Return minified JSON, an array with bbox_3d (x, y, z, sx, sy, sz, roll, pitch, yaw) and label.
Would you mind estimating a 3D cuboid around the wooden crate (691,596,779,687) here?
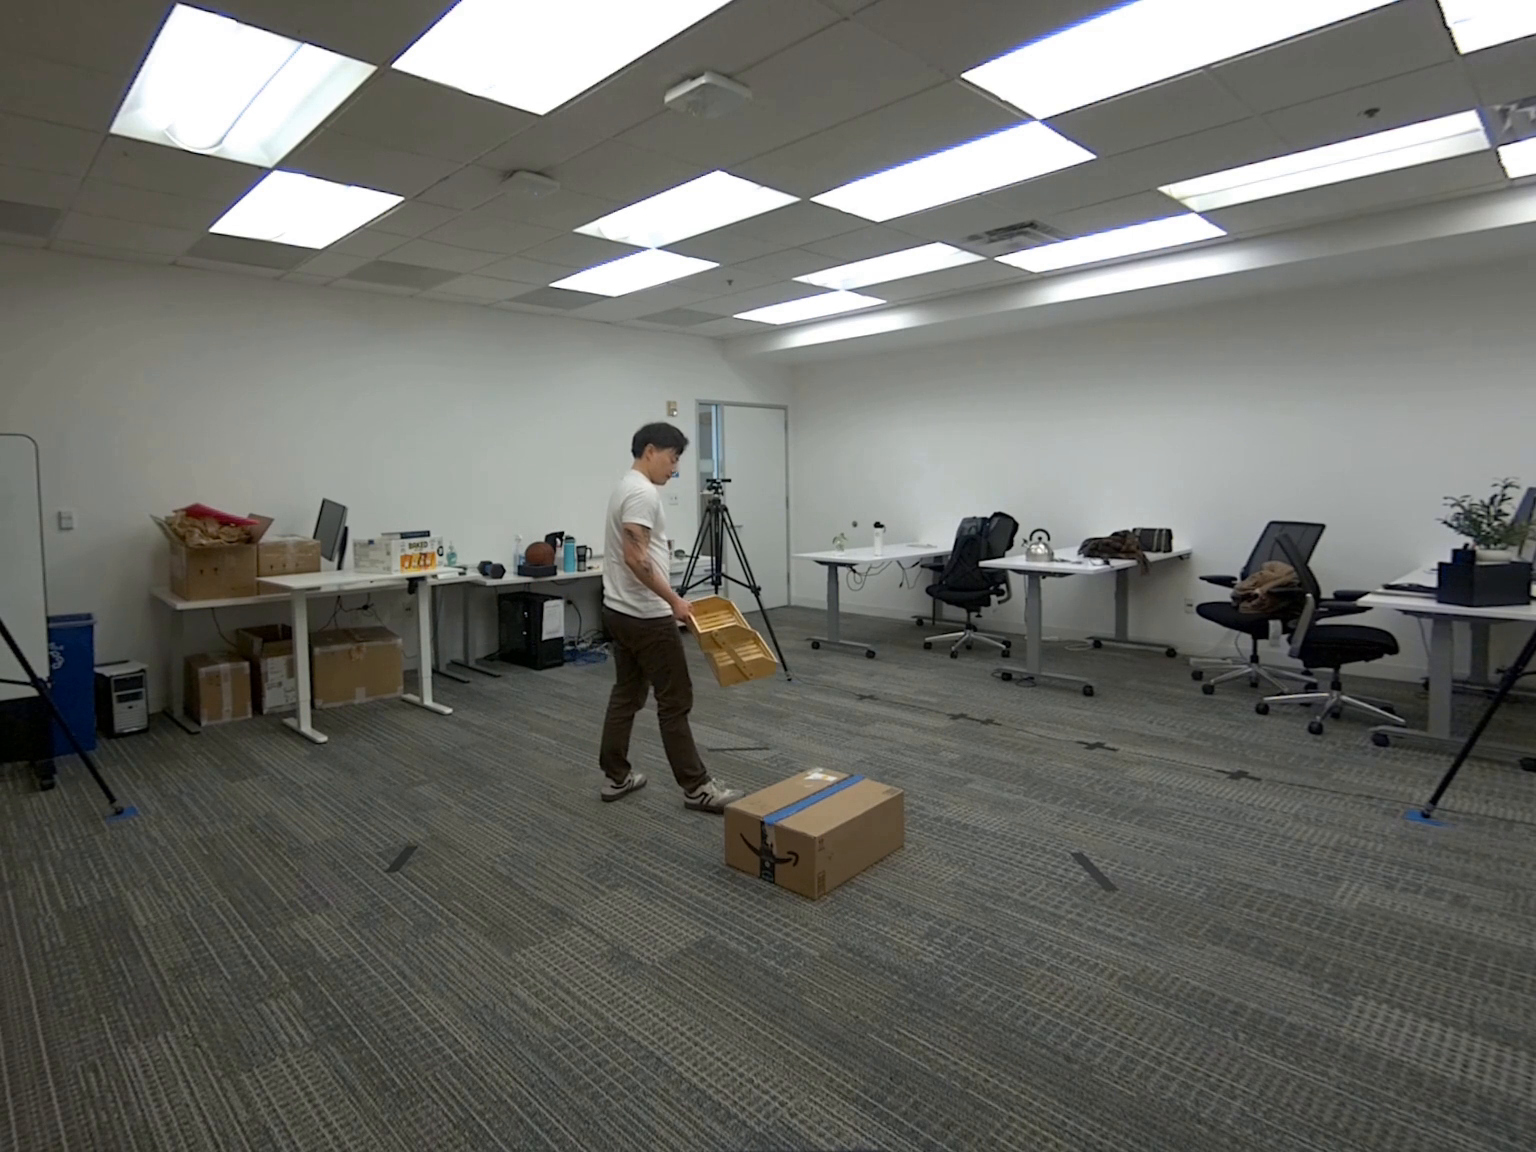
[{"bbox_3d":[-0.141,0.246,3.498,0.300,0.267,0.334,-13,22,-10],"label":"wooden crate"}]
